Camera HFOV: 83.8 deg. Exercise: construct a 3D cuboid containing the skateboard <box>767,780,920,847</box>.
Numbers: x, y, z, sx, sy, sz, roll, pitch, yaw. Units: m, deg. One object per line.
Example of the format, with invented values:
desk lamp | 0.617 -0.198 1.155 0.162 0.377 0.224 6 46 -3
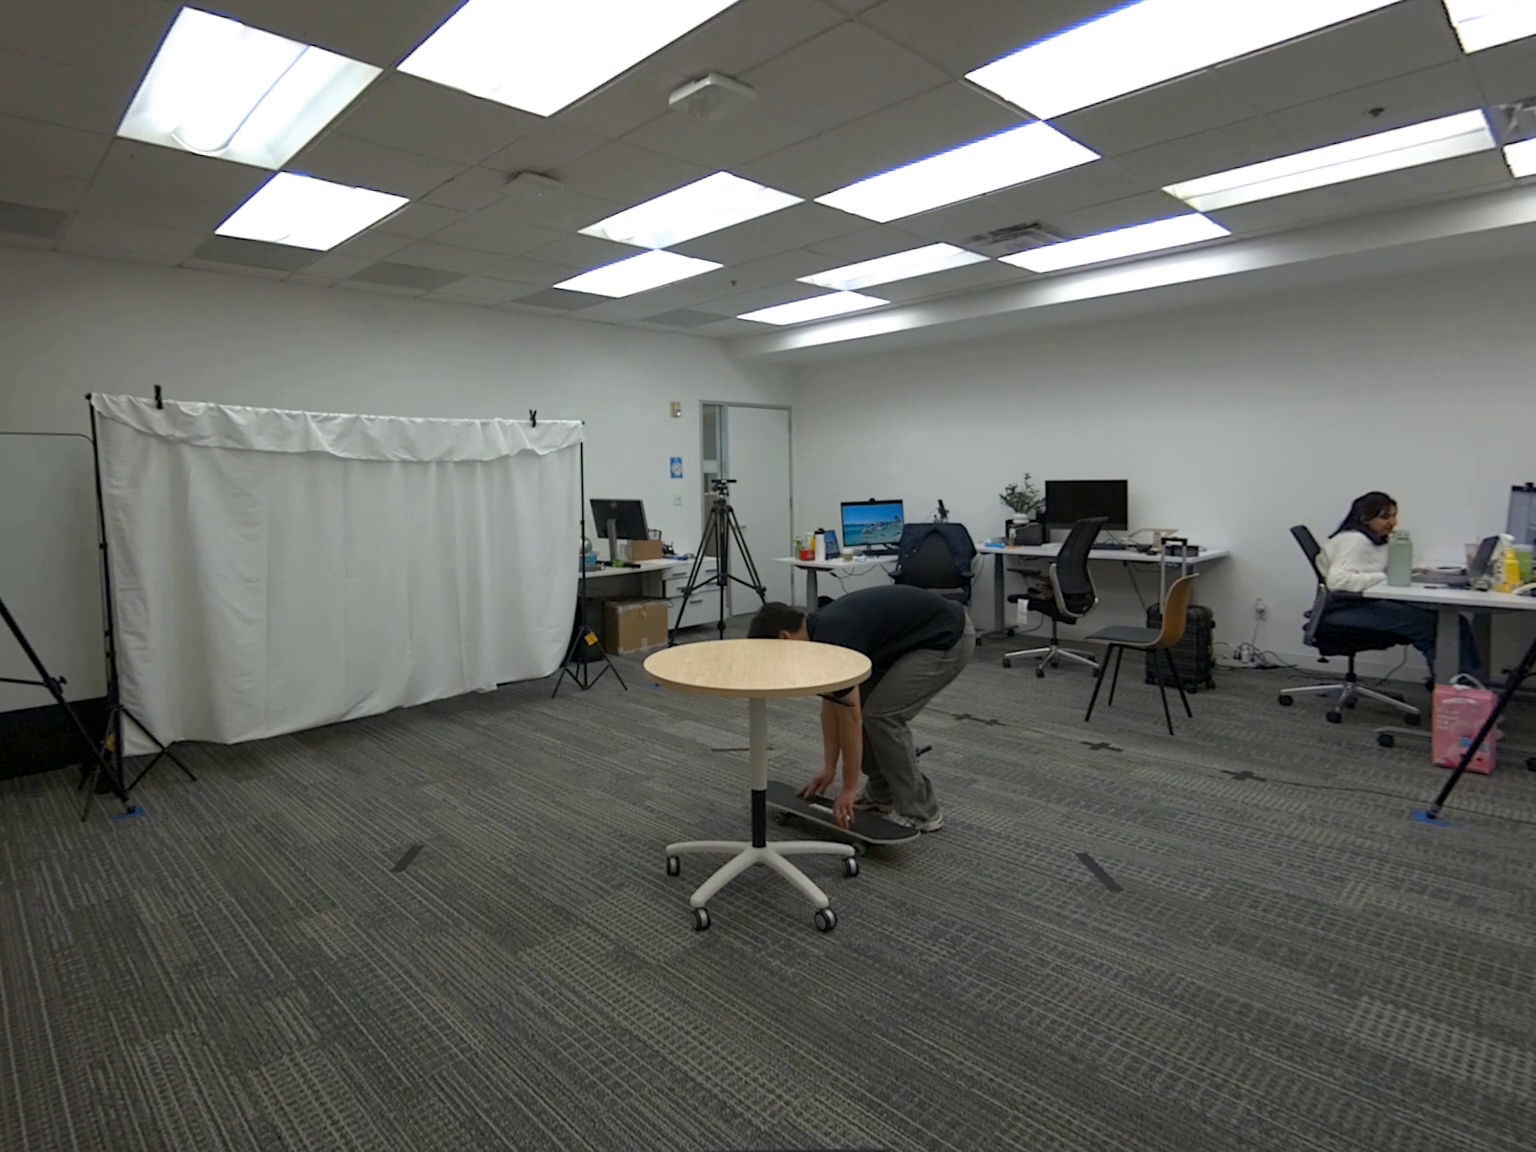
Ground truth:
skateboard | 0.248 0.958 3.351 0.188 0.110 0.810 -7 9 -42
